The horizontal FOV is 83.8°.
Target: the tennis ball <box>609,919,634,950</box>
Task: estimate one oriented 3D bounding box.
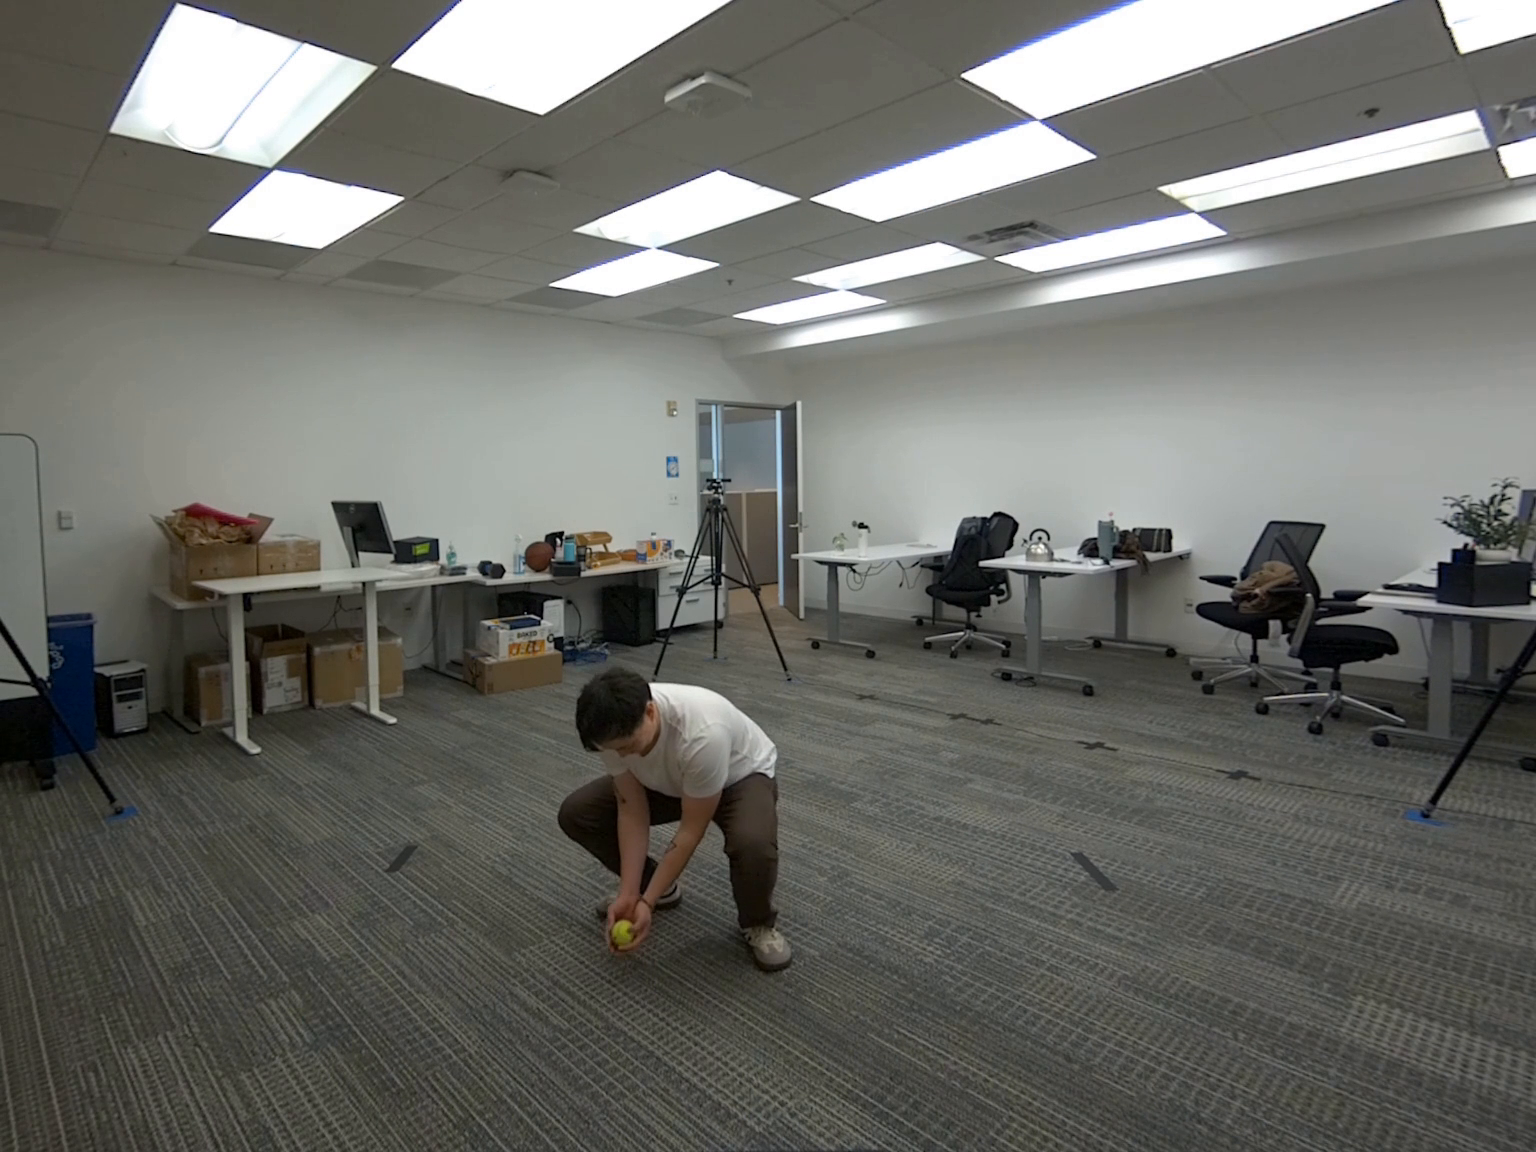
[{"bbox_3d":[-0.394,0.991,2.352,0.066,0.066,0.067,-1,5,-2],"label":"tennis ball"}]
